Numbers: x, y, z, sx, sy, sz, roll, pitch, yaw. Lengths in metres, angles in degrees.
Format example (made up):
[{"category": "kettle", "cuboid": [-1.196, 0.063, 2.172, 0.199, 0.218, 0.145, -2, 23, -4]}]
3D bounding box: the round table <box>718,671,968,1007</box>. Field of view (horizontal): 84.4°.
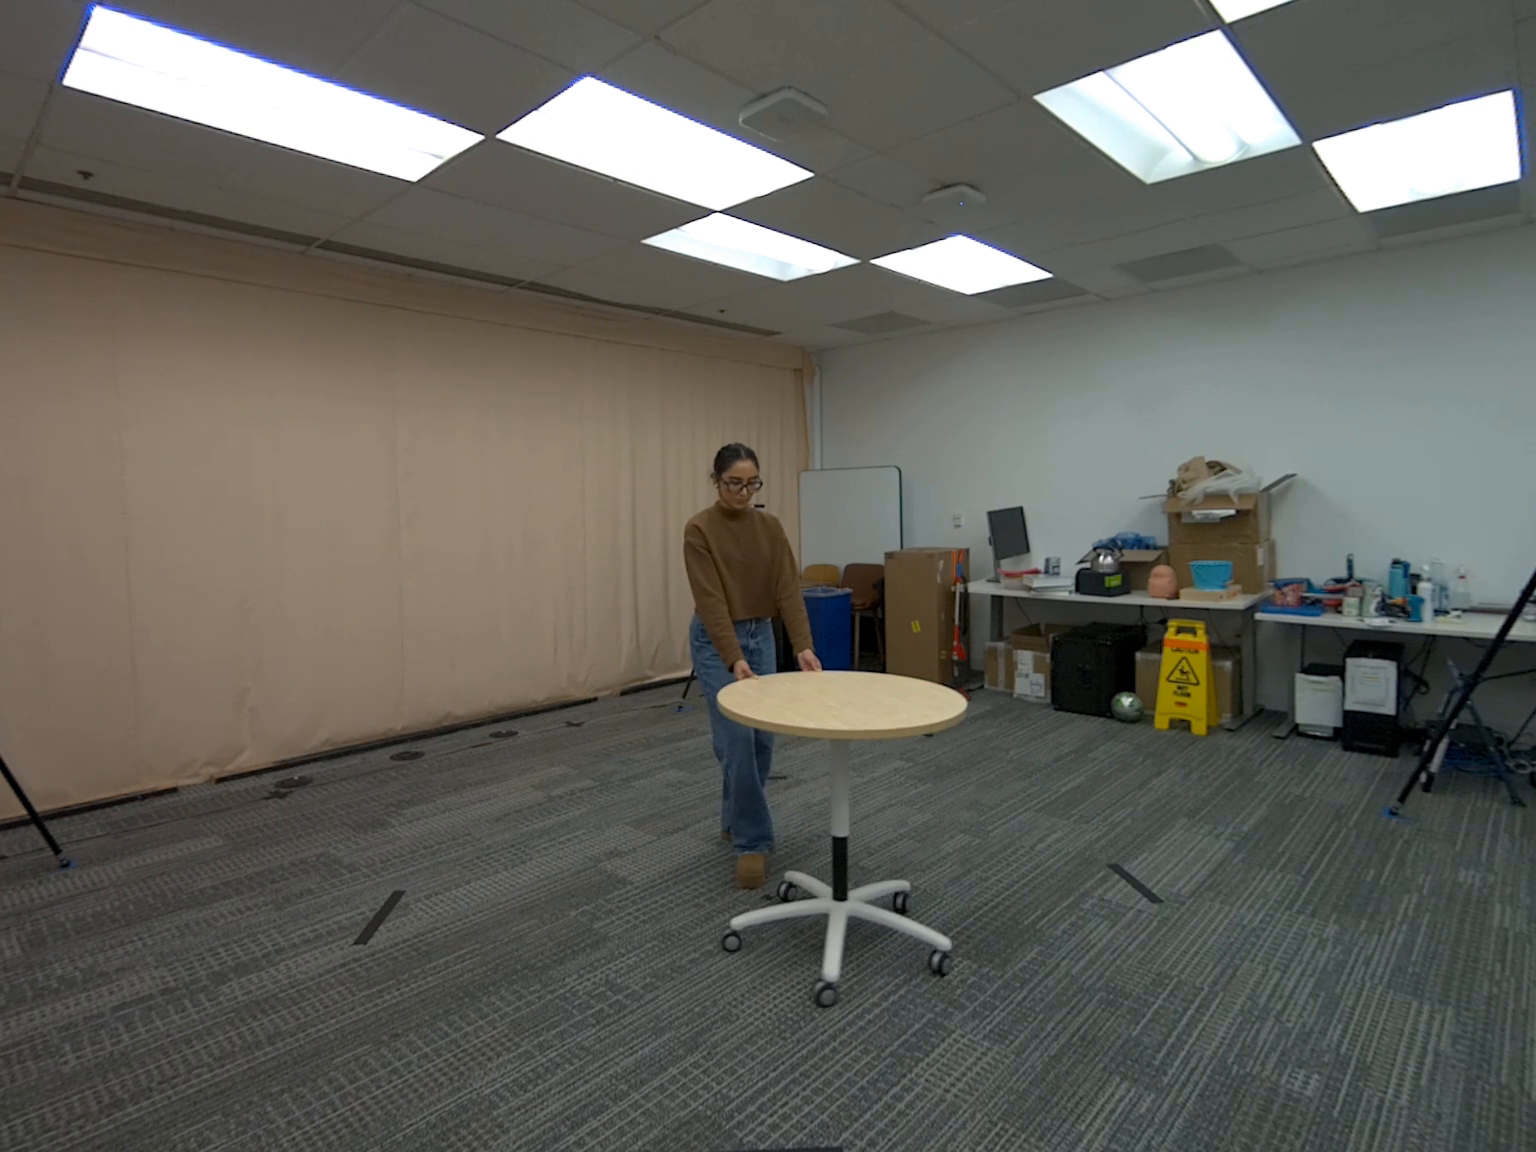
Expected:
[{"category": "round table", "cuboid": [0.208, 0.766, 2.660, 0.784, 0.785, 0.788, 0, 4, -2]}]
